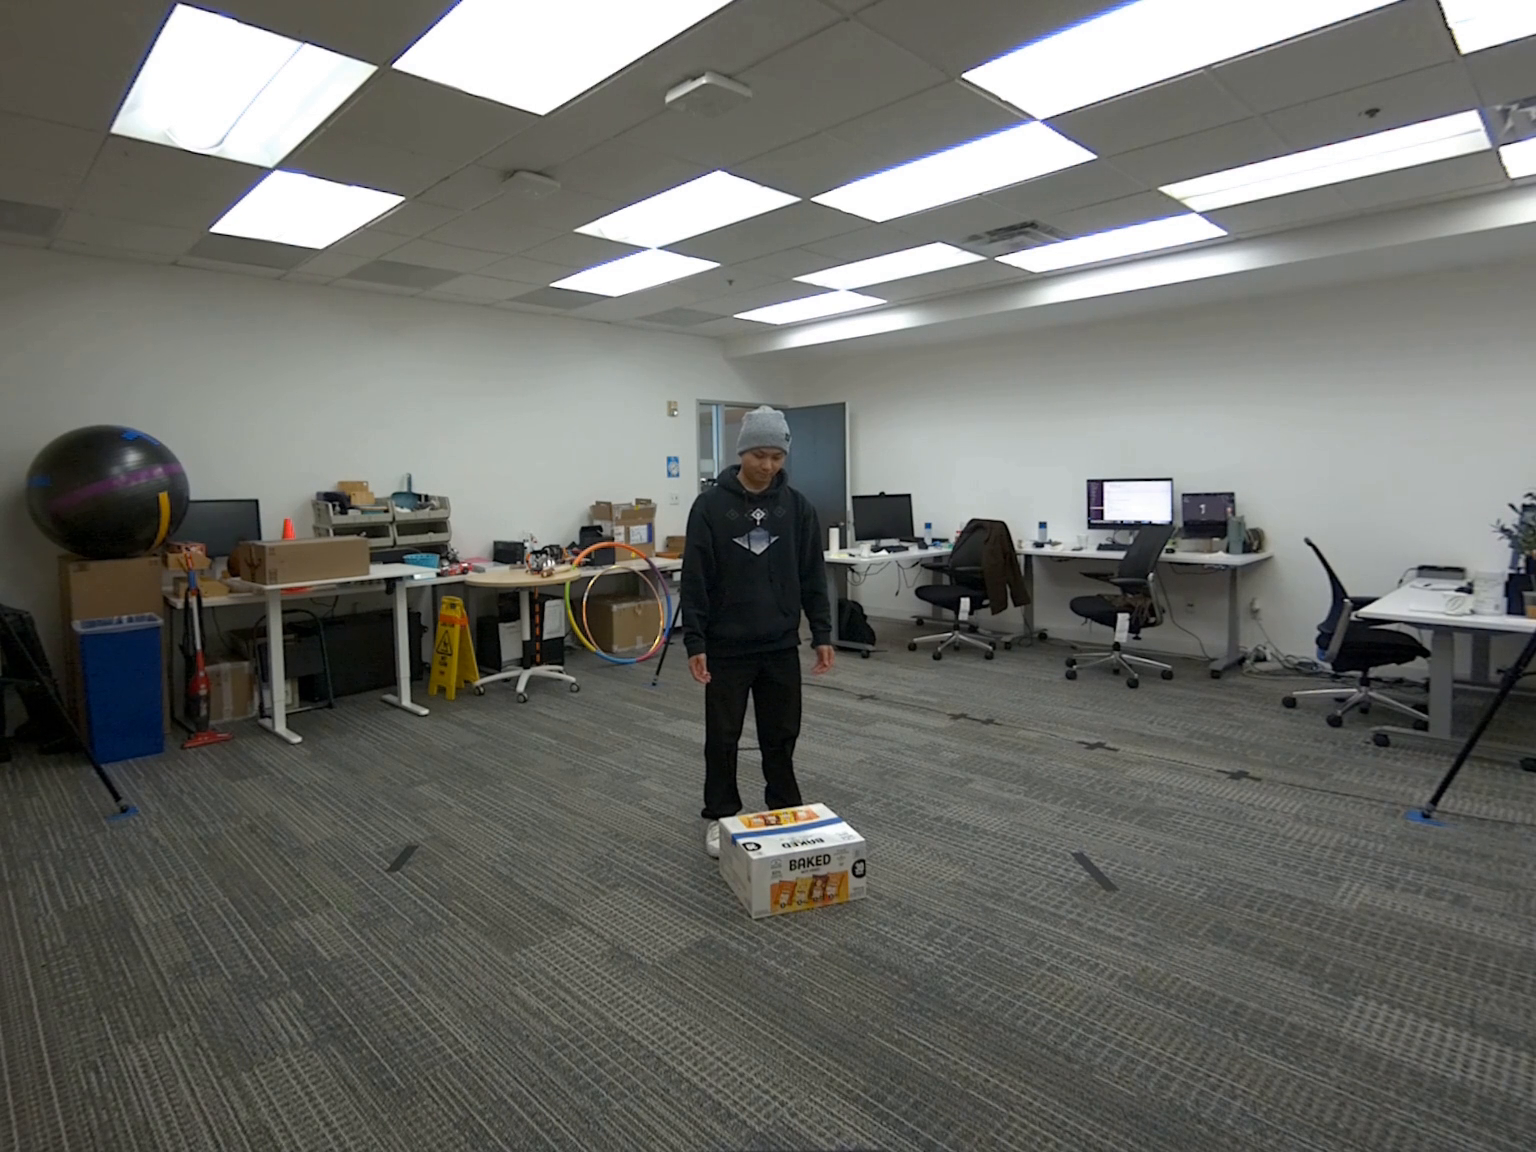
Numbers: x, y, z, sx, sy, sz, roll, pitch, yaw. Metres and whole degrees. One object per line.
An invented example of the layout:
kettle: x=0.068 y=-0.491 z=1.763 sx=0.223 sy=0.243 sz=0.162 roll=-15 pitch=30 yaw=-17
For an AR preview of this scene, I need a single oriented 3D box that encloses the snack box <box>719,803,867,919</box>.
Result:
snack box: x=0.081 y=0.963 z=2.918 sx=0.398 sy=0.205 sz=0.348 roll=-3 pitch=6 yaw=-20
